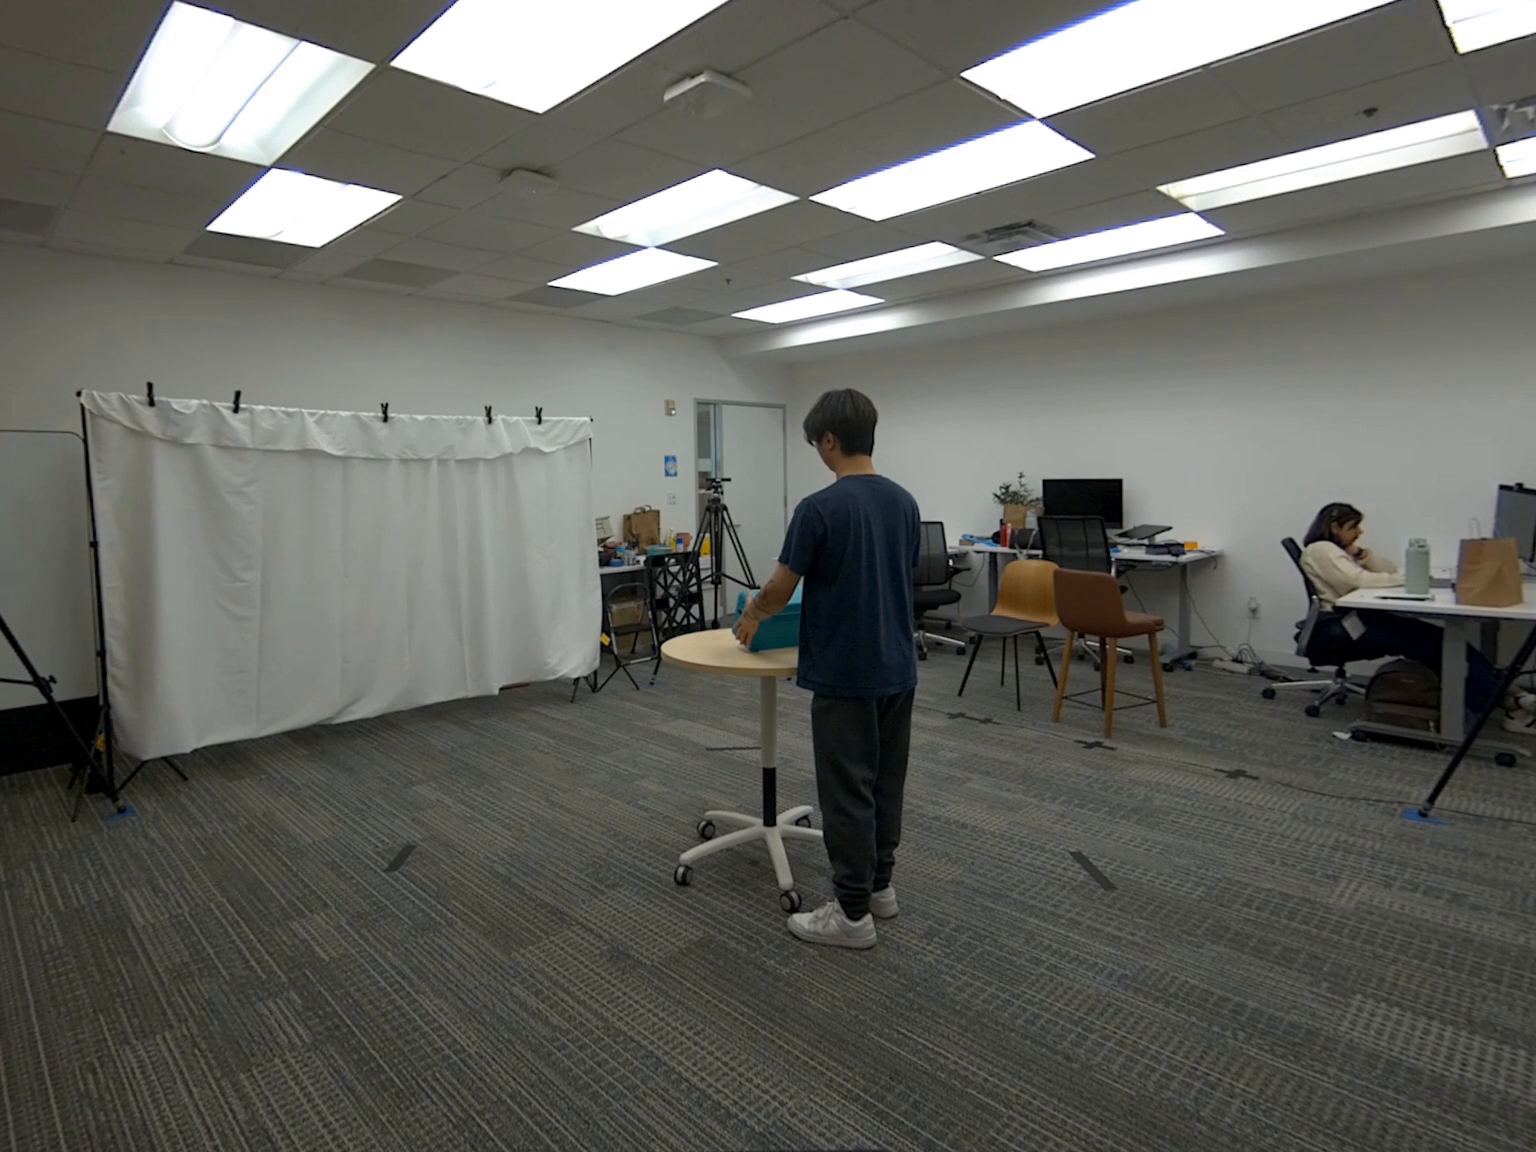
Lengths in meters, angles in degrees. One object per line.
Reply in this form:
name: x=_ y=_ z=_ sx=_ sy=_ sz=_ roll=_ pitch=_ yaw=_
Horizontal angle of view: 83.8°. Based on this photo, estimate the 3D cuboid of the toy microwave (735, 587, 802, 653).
toy microwave: x=0.032 y=0.144 z=3.012 sx=0.280 sy=0.181 sz=0.158 roll=-4 pitch=26 yaw=-28
